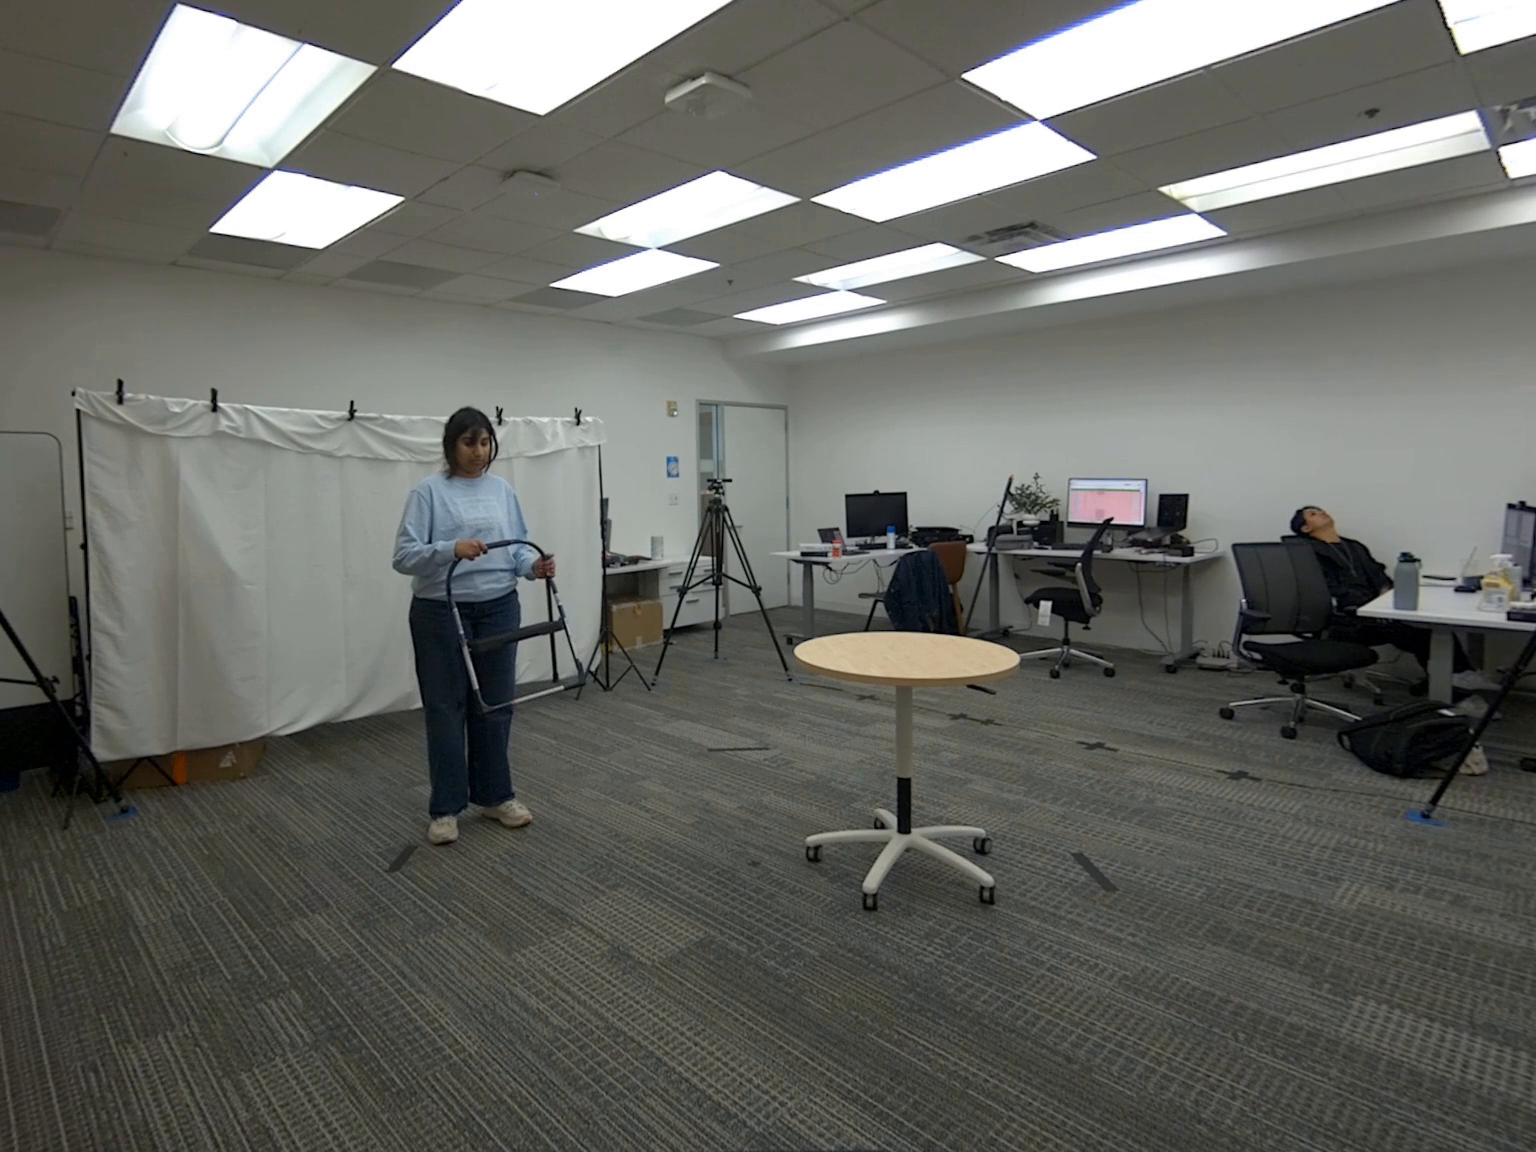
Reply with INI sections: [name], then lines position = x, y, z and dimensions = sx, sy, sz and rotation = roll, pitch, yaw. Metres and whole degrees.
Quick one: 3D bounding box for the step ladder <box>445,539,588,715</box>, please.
[step ladder]
position = -1.009, 0.179, 3.286
dimensions = 0.422, 0.606, 0.356
rotation = -14, 1, -33
